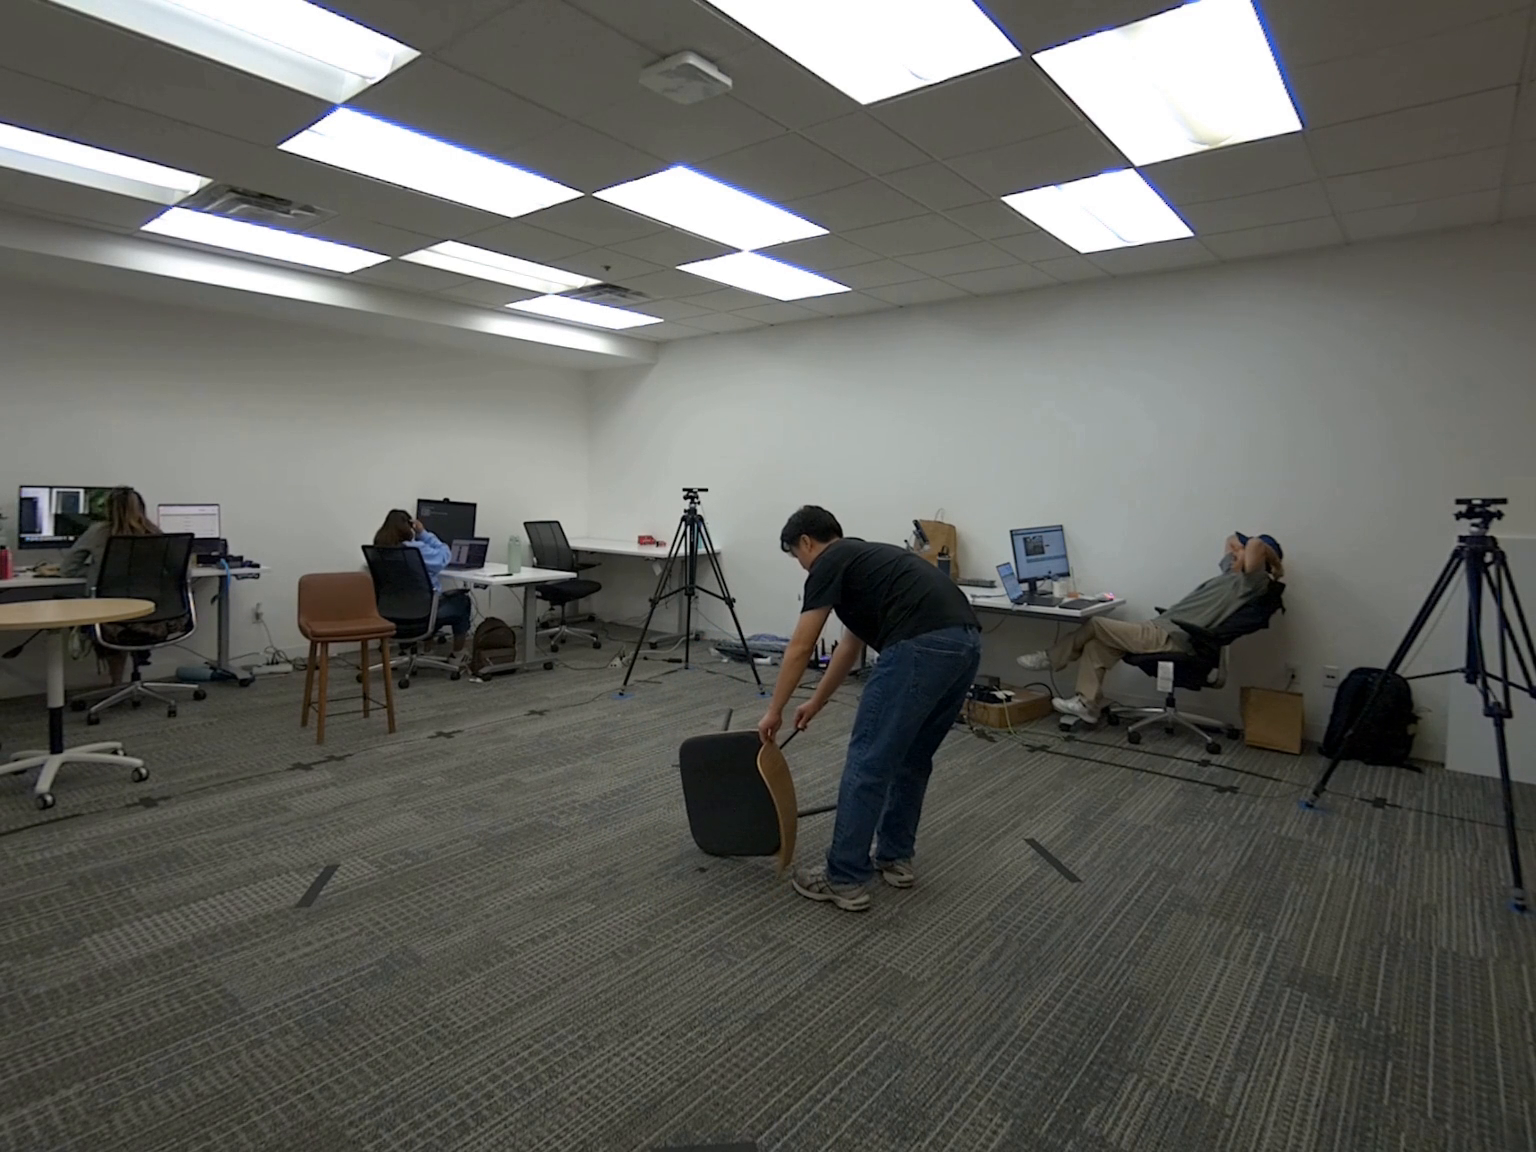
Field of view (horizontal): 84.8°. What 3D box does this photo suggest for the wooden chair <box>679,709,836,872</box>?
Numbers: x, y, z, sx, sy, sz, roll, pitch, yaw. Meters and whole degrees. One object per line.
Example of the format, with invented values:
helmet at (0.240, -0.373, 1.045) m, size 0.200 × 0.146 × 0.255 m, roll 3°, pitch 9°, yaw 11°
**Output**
wooden chair at (-0.092, 0.813, 3.220) m, size 0.532 × 0.477 × 0.865 m, roll -8°, pitch 3°, yaw 17°
